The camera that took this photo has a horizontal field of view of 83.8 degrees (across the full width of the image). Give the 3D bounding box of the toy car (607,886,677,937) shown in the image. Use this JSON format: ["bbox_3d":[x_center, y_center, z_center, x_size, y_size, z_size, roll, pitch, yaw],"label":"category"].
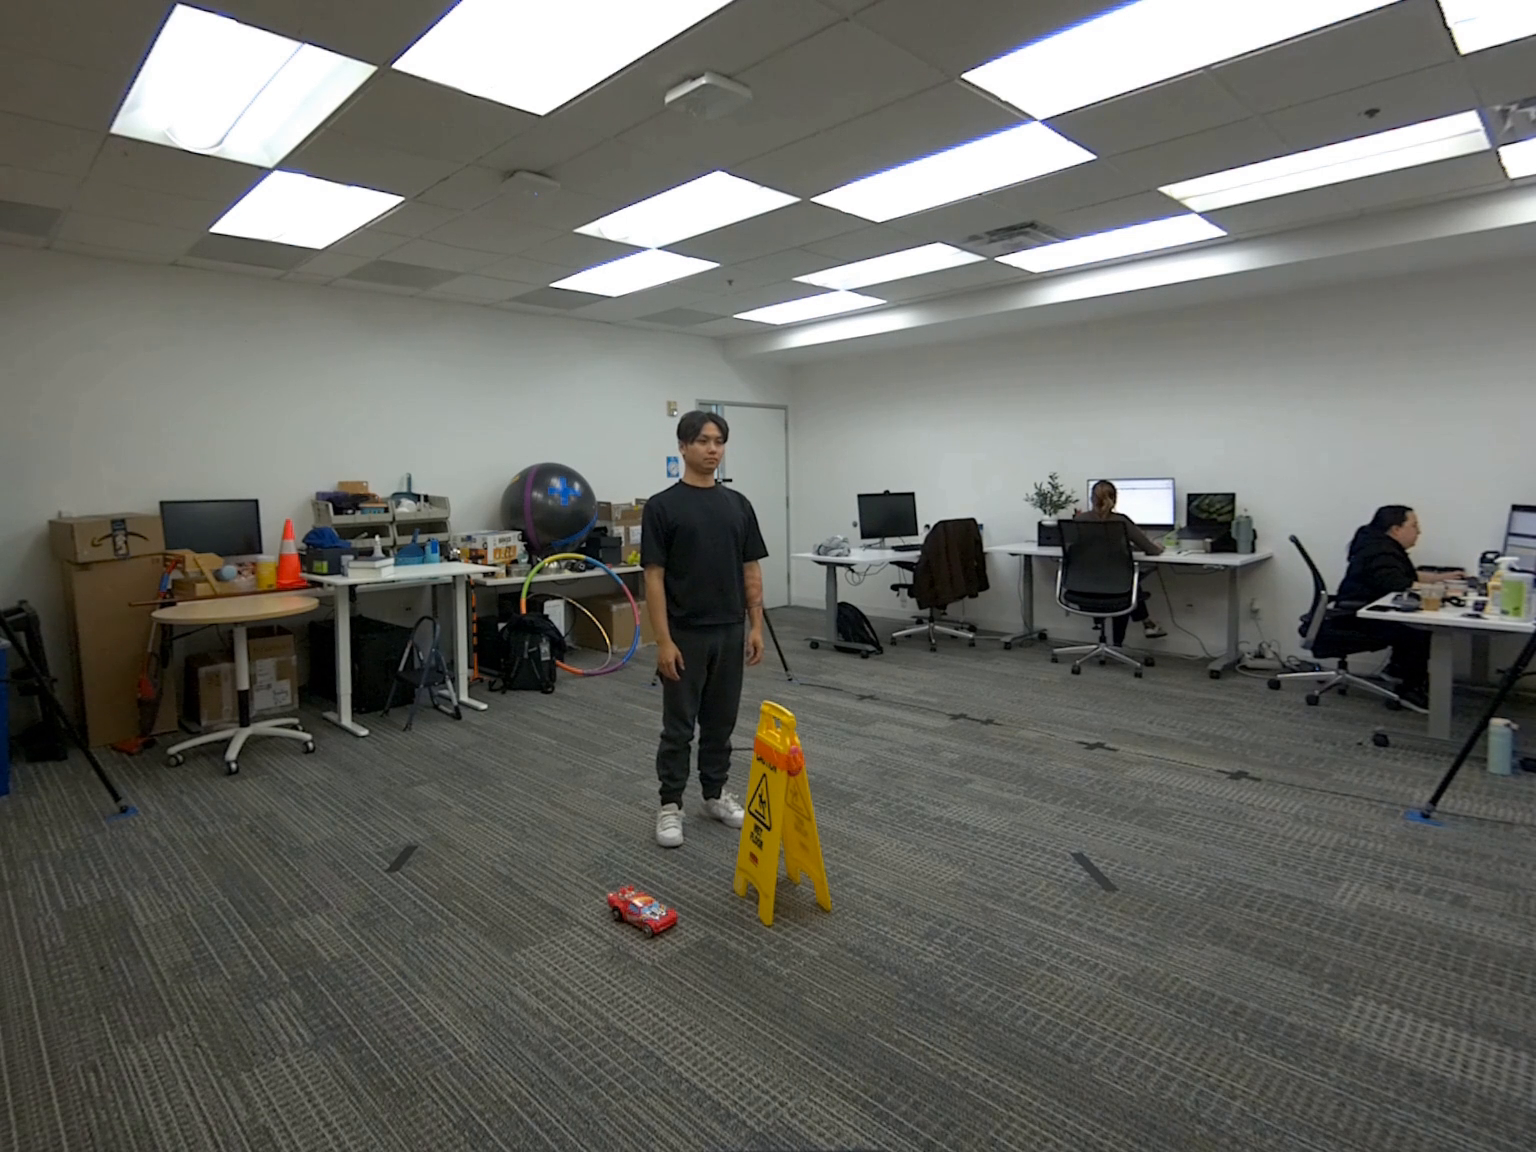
[{"bbox_3d":[-0.412,1.069,2.724,0.264,0.082,0.127,19,19,40],"label":"toy car"}]
